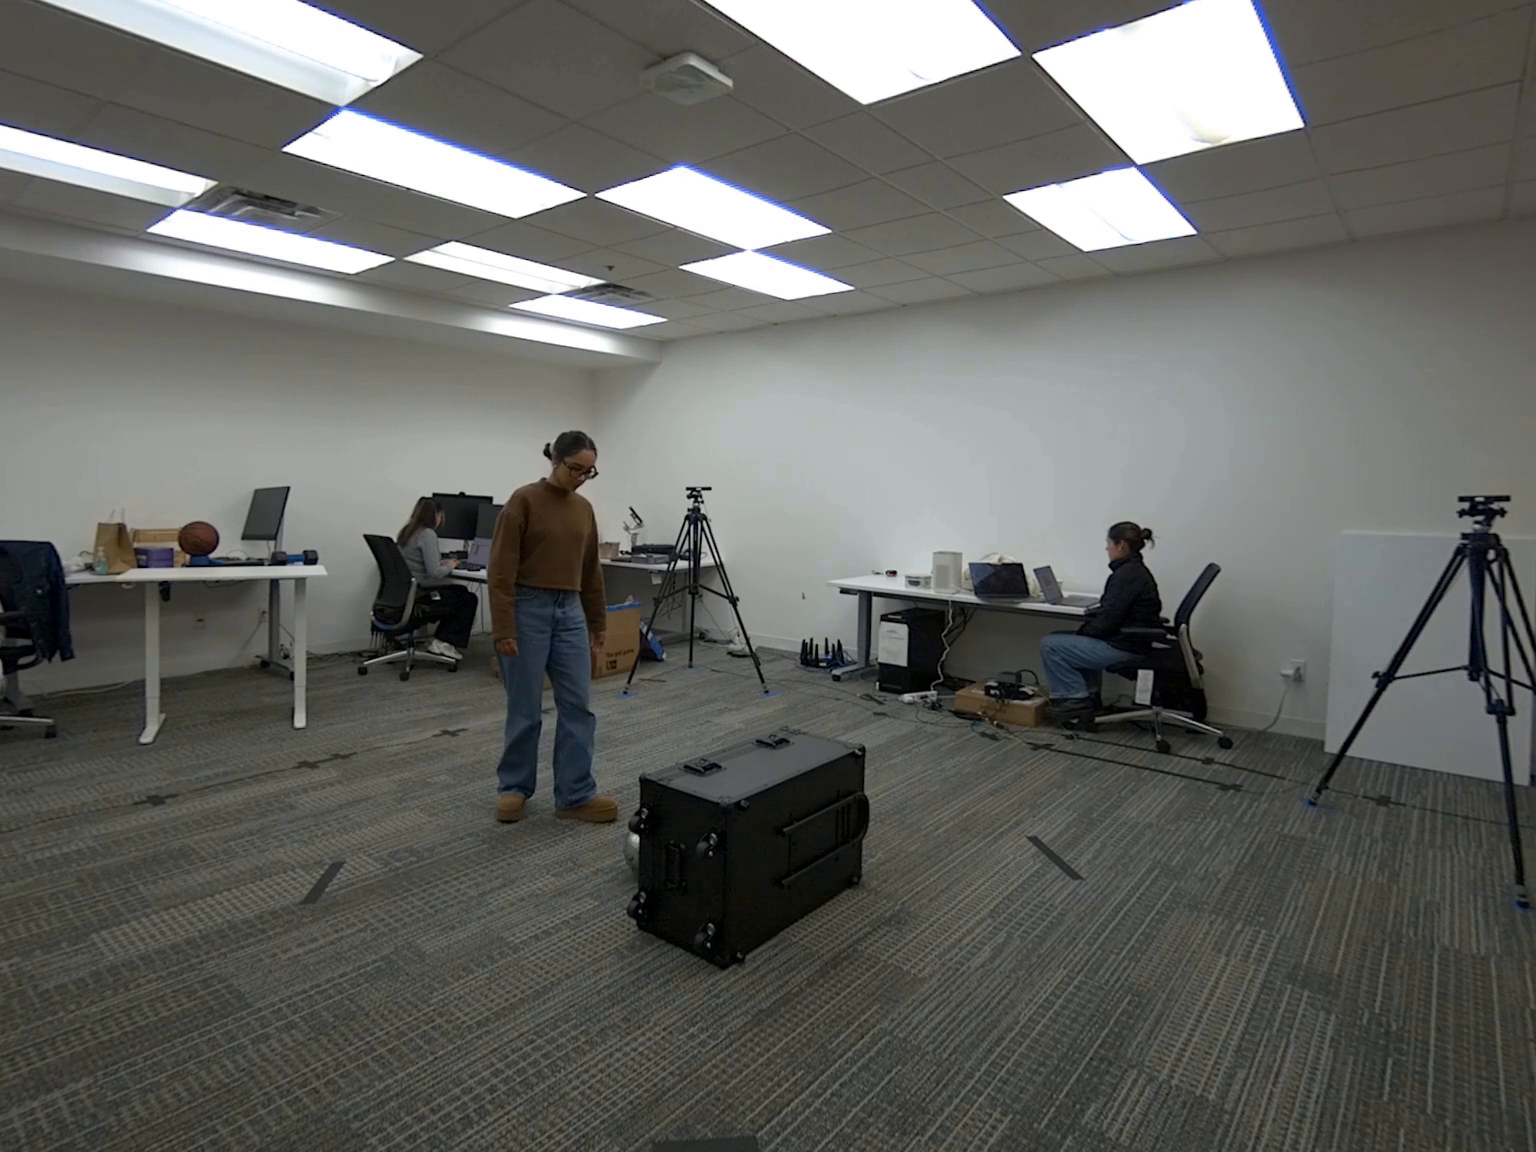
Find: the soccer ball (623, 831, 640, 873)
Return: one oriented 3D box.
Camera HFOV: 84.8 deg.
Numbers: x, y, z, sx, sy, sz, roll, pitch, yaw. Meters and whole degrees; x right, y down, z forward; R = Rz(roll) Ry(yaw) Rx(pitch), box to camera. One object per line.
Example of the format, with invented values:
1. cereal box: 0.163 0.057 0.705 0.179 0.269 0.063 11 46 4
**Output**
1. soccer ball: -0.426 0.966 3.046 0.187 0.187 0.188 1 4 -2
